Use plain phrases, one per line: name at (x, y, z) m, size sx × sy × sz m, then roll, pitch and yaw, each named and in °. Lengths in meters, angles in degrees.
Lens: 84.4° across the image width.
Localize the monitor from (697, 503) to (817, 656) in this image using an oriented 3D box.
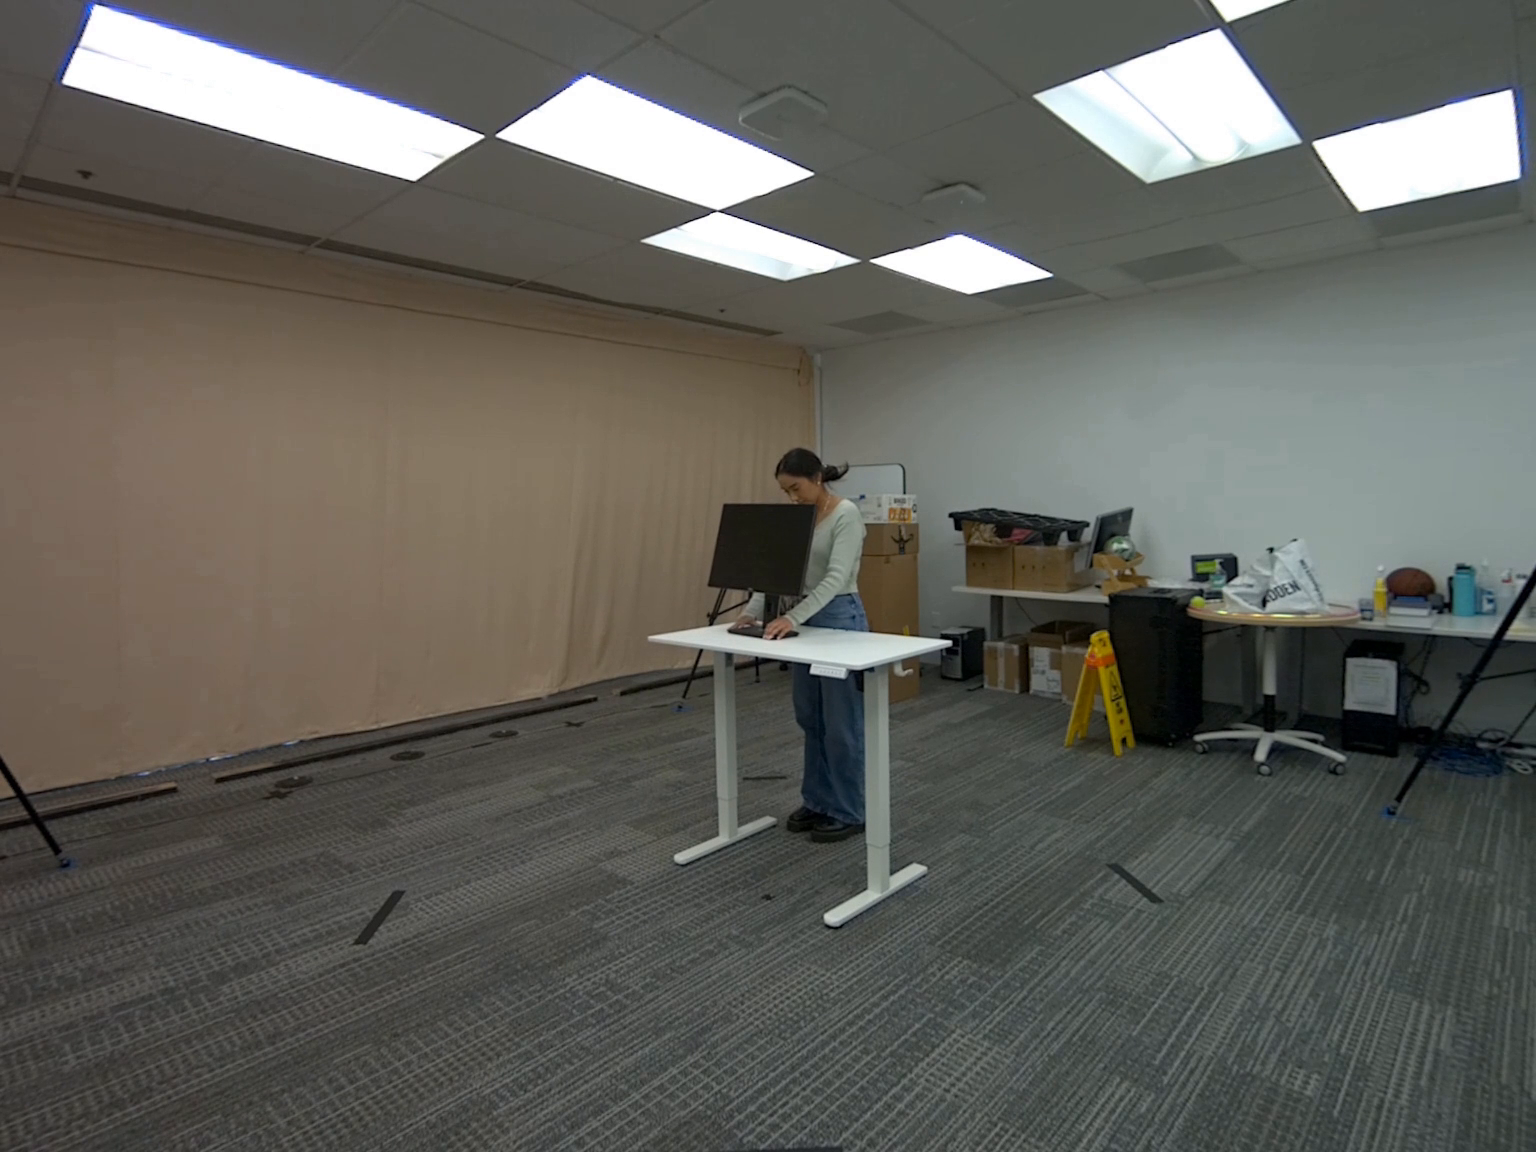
monitor at (-0.012, -0.029, 3.315) m, size 0.169 × 0.514 × 0.548 m, roll -7°, pitch 9°, yaw -41°
